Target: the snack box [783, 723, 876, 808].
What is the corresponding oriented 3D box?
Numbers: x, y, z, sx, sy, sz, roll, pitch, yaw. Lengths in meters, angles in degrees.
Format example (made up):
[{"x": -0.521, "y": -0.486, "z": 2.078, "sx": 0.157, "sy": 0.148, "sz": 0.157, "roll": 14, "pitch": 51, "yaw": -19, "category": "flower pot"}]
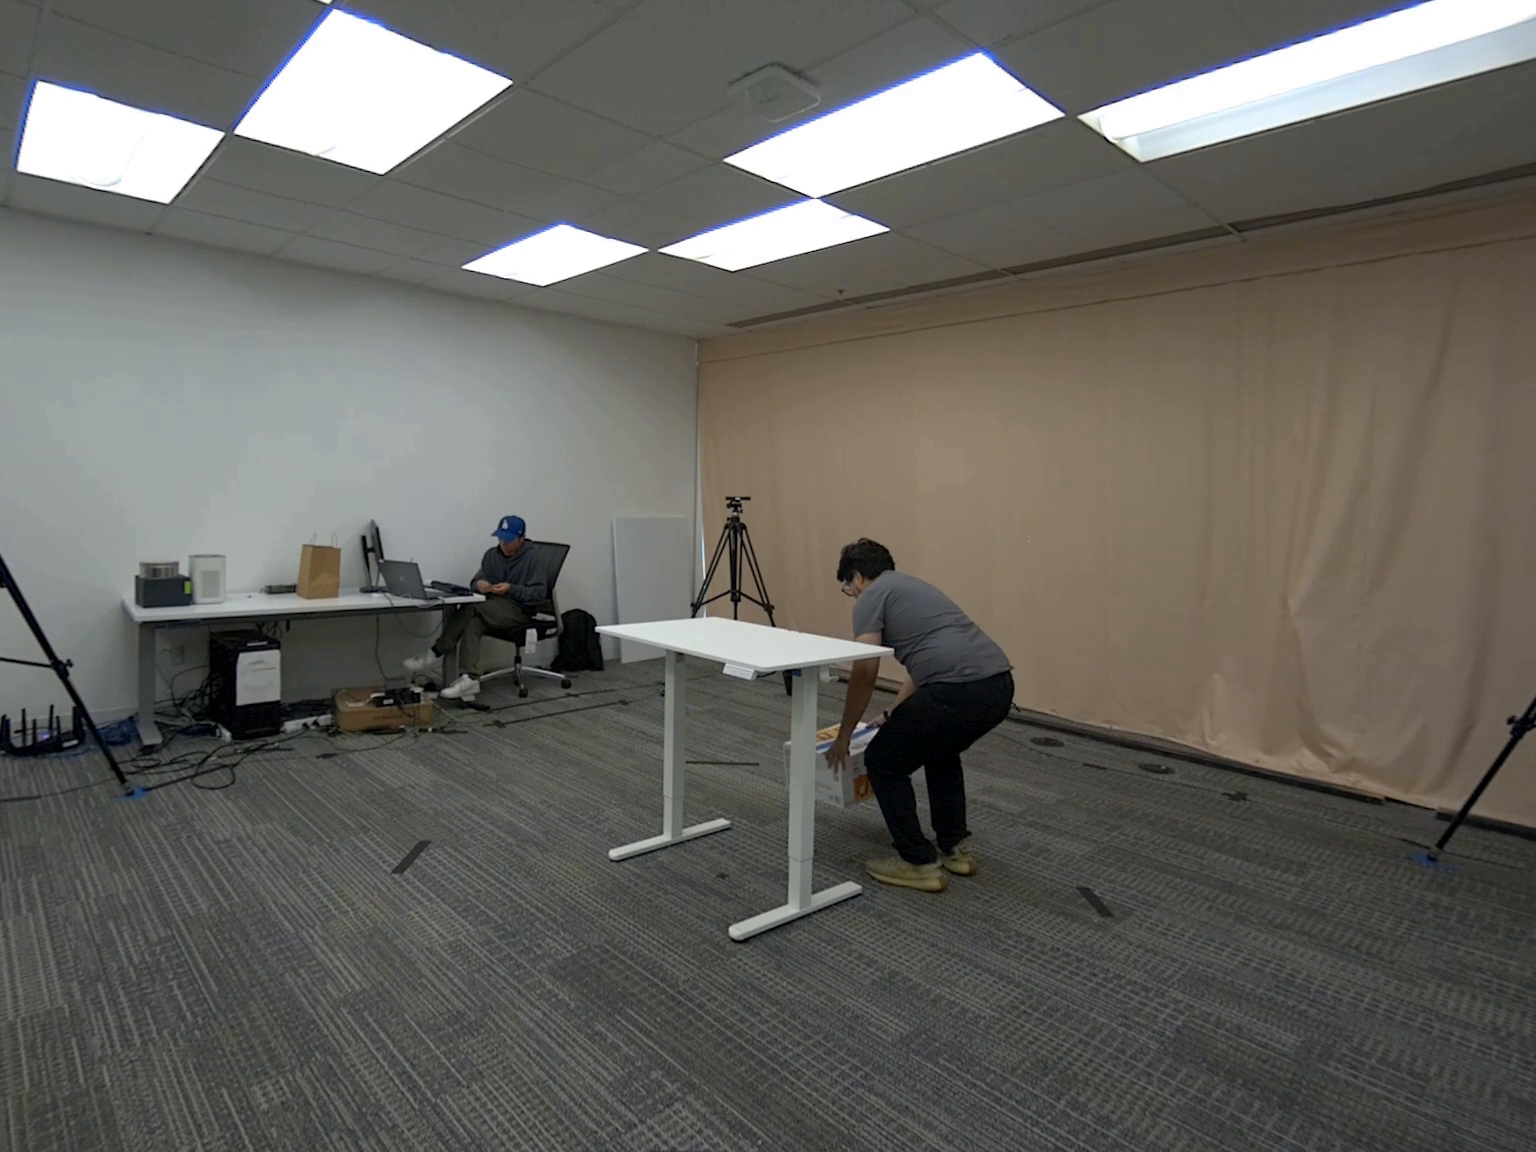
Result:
[{"x": 0.329, "y": 0.772, "z": 3.501, "sx": 0.397, "sy": 0.205, "sz": 0.348, "roll": -10, "pitch": 7, "yaw": -38, "category": "snack box"}]
